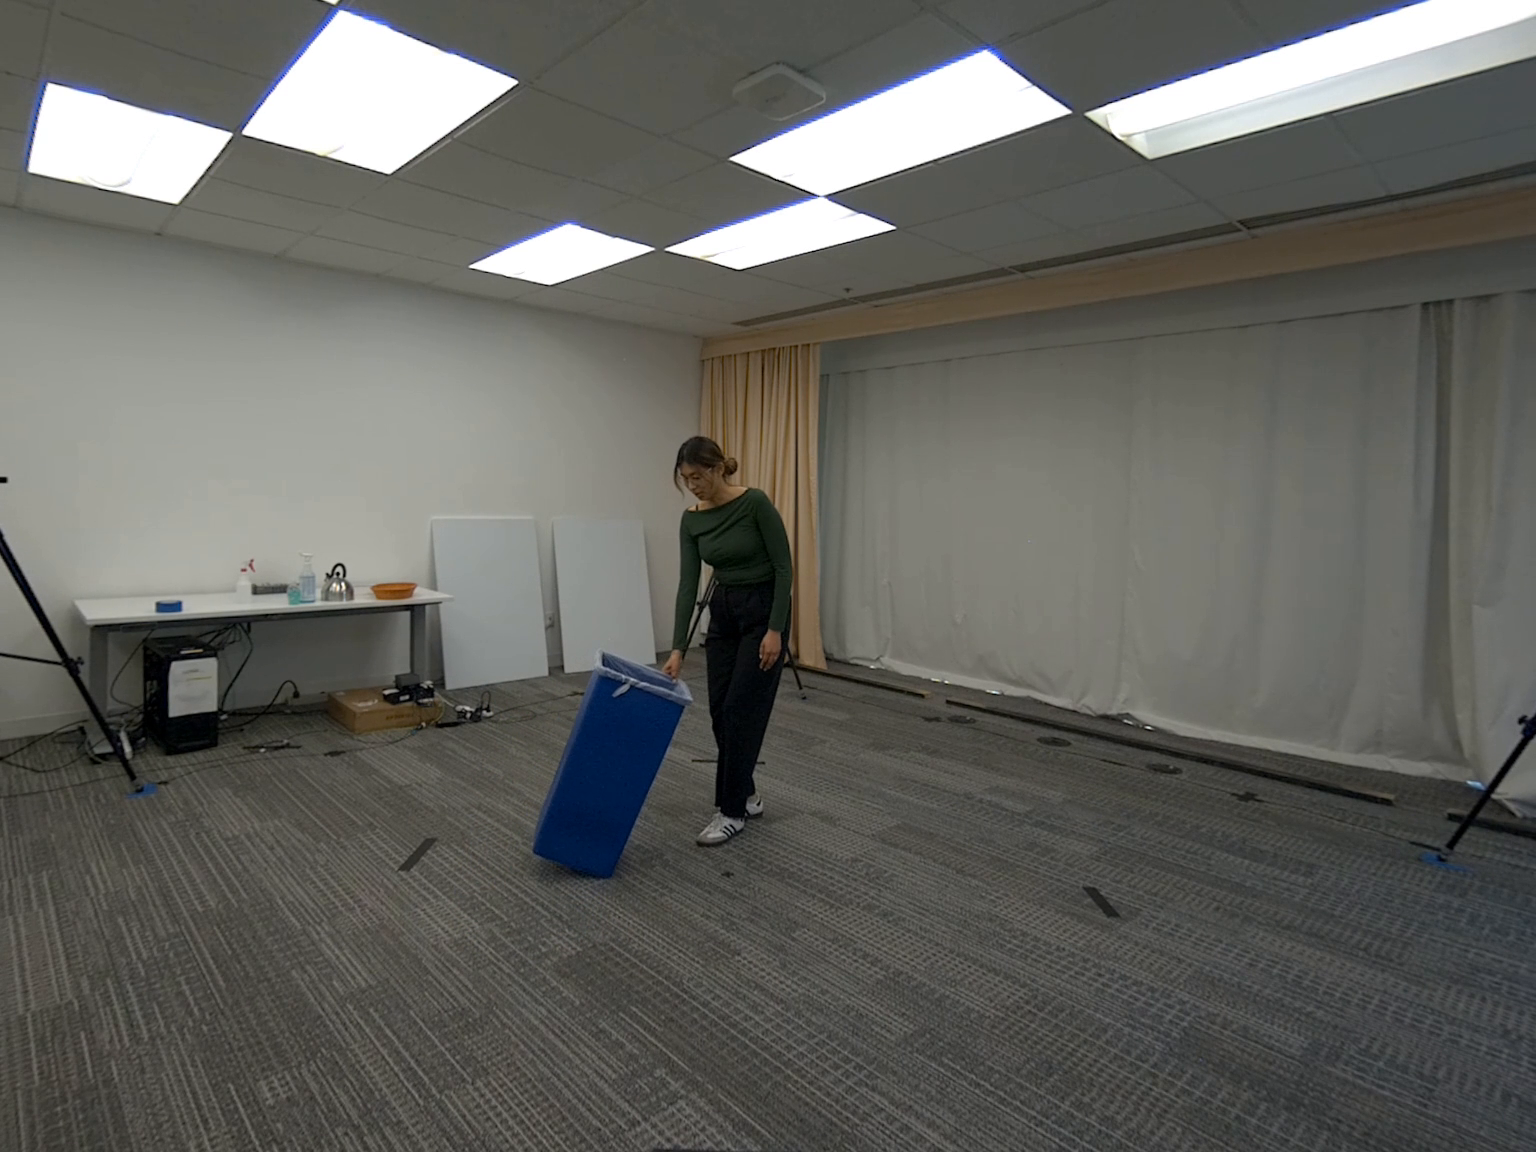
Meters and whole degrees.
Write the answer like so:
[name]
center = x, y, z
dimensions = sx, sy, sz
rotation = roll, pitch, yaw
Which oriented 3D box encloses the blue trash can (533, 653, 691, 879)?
[blue trash can]
center = -0.612, 0.700, 3.158
dimensions = 0.369, 0.714, 0.382
rotation = 23, -1, -13
